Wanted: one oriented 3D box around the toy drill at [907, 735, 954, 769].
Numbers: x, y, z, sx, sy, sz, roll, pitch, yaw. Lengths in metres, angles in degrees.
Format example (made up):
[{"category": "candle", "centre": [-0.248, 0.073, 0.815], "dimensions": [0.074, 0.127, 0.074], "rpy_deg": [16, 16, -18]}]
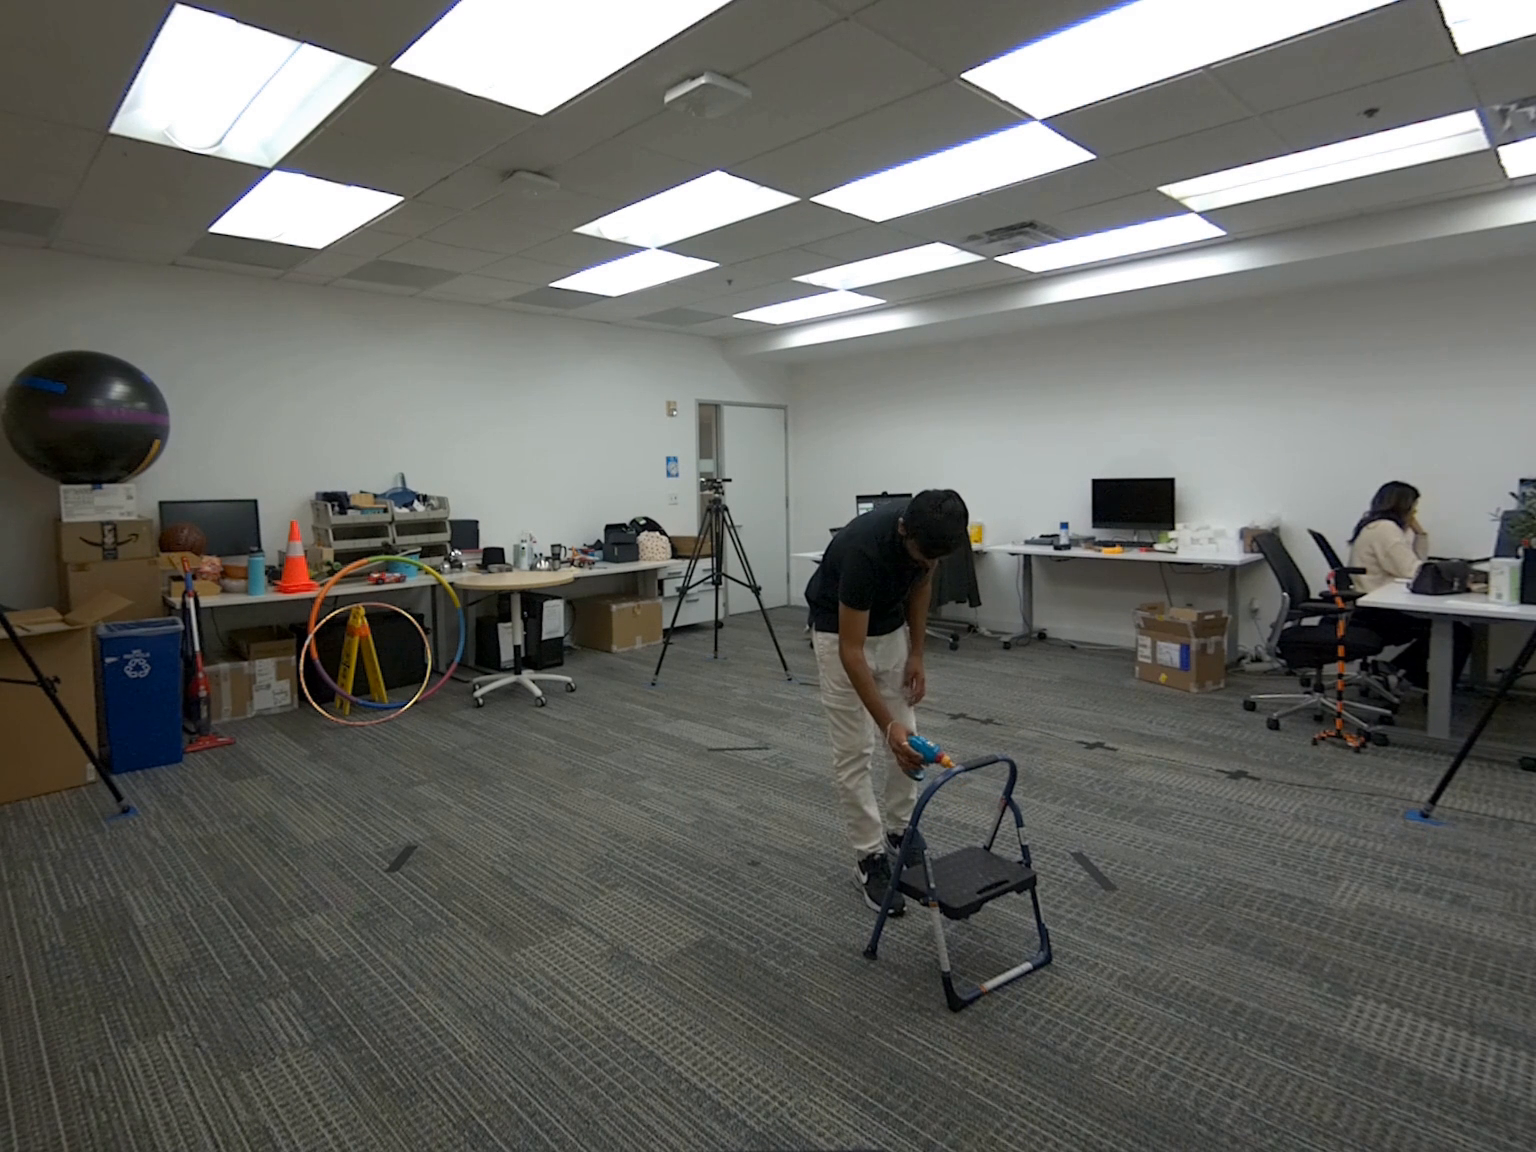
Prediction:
[{"category": "toy drill", "centre": [0.472, 0.547, 2.528], "dimensions": [0.175, 0.143, 0.061], "rpy_deg": [29, 43, 26]}]
